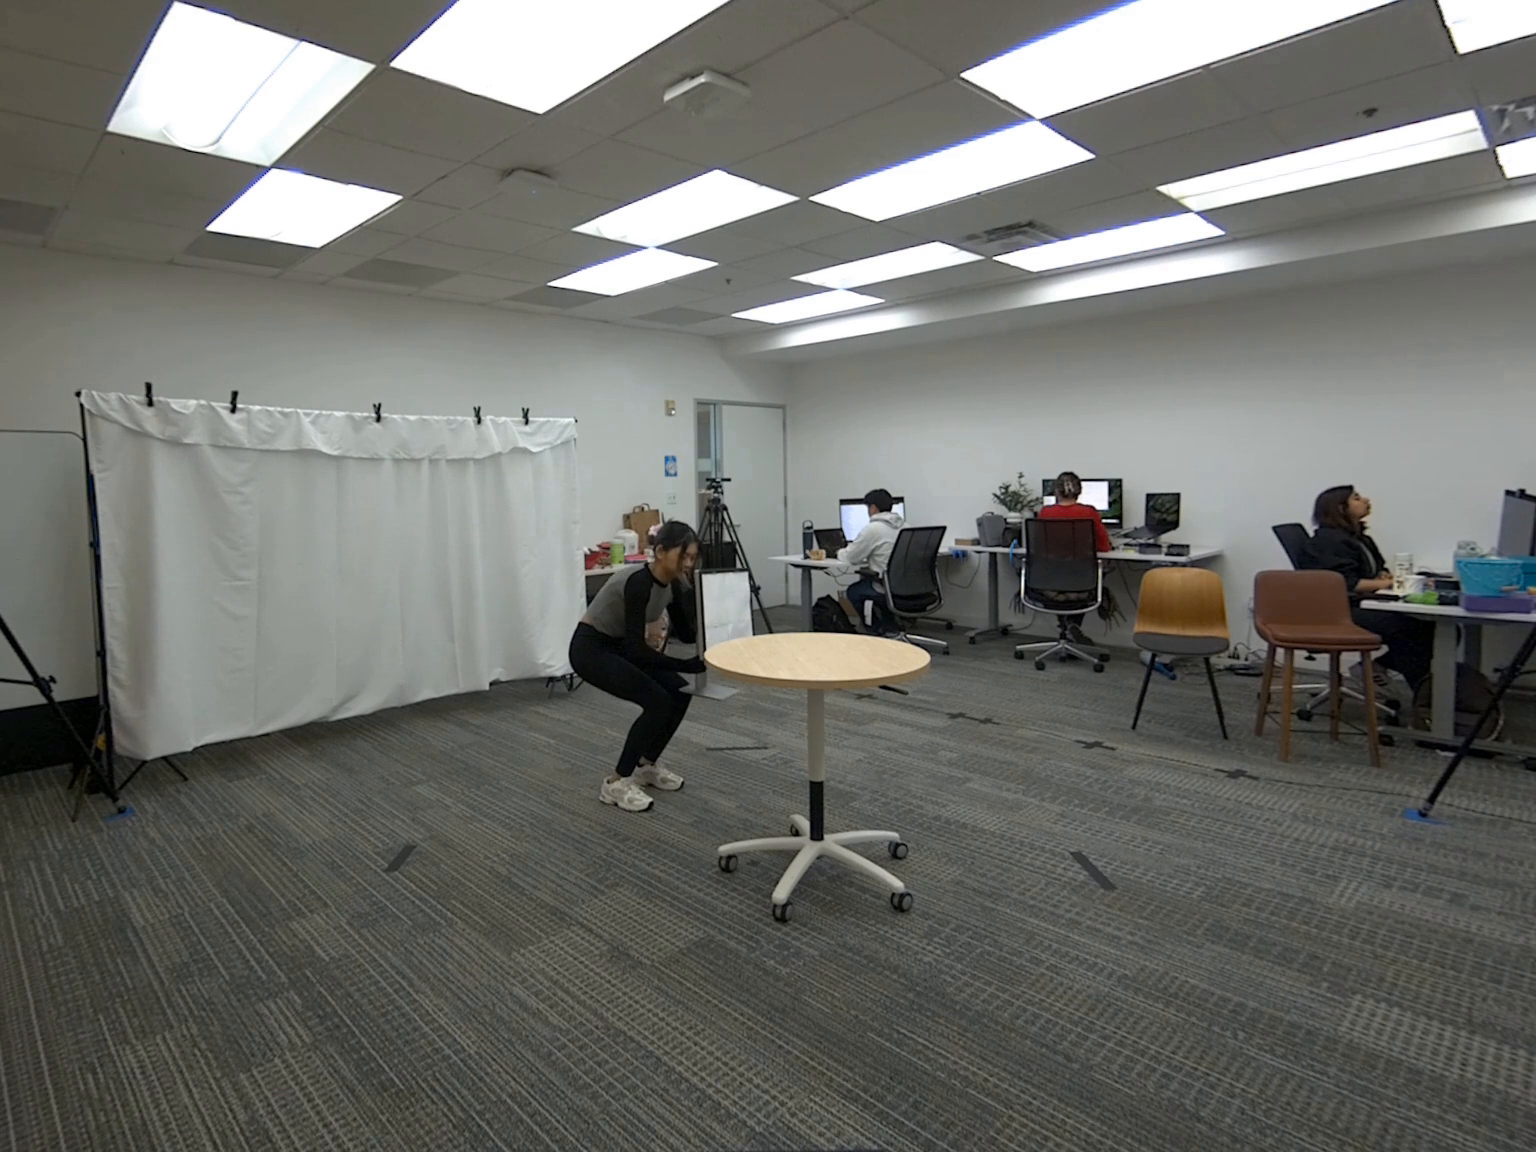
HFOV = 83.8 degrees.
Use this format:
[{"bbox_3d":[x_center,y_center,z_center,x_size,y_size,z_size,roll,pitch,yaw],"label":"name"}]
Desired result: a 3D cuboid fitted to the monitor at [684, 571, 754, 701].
[{"bbox_3d":[-0.222,0.242,3.685,0.191,0.521,0.528,10,4,19],"label":"monitor"}]
